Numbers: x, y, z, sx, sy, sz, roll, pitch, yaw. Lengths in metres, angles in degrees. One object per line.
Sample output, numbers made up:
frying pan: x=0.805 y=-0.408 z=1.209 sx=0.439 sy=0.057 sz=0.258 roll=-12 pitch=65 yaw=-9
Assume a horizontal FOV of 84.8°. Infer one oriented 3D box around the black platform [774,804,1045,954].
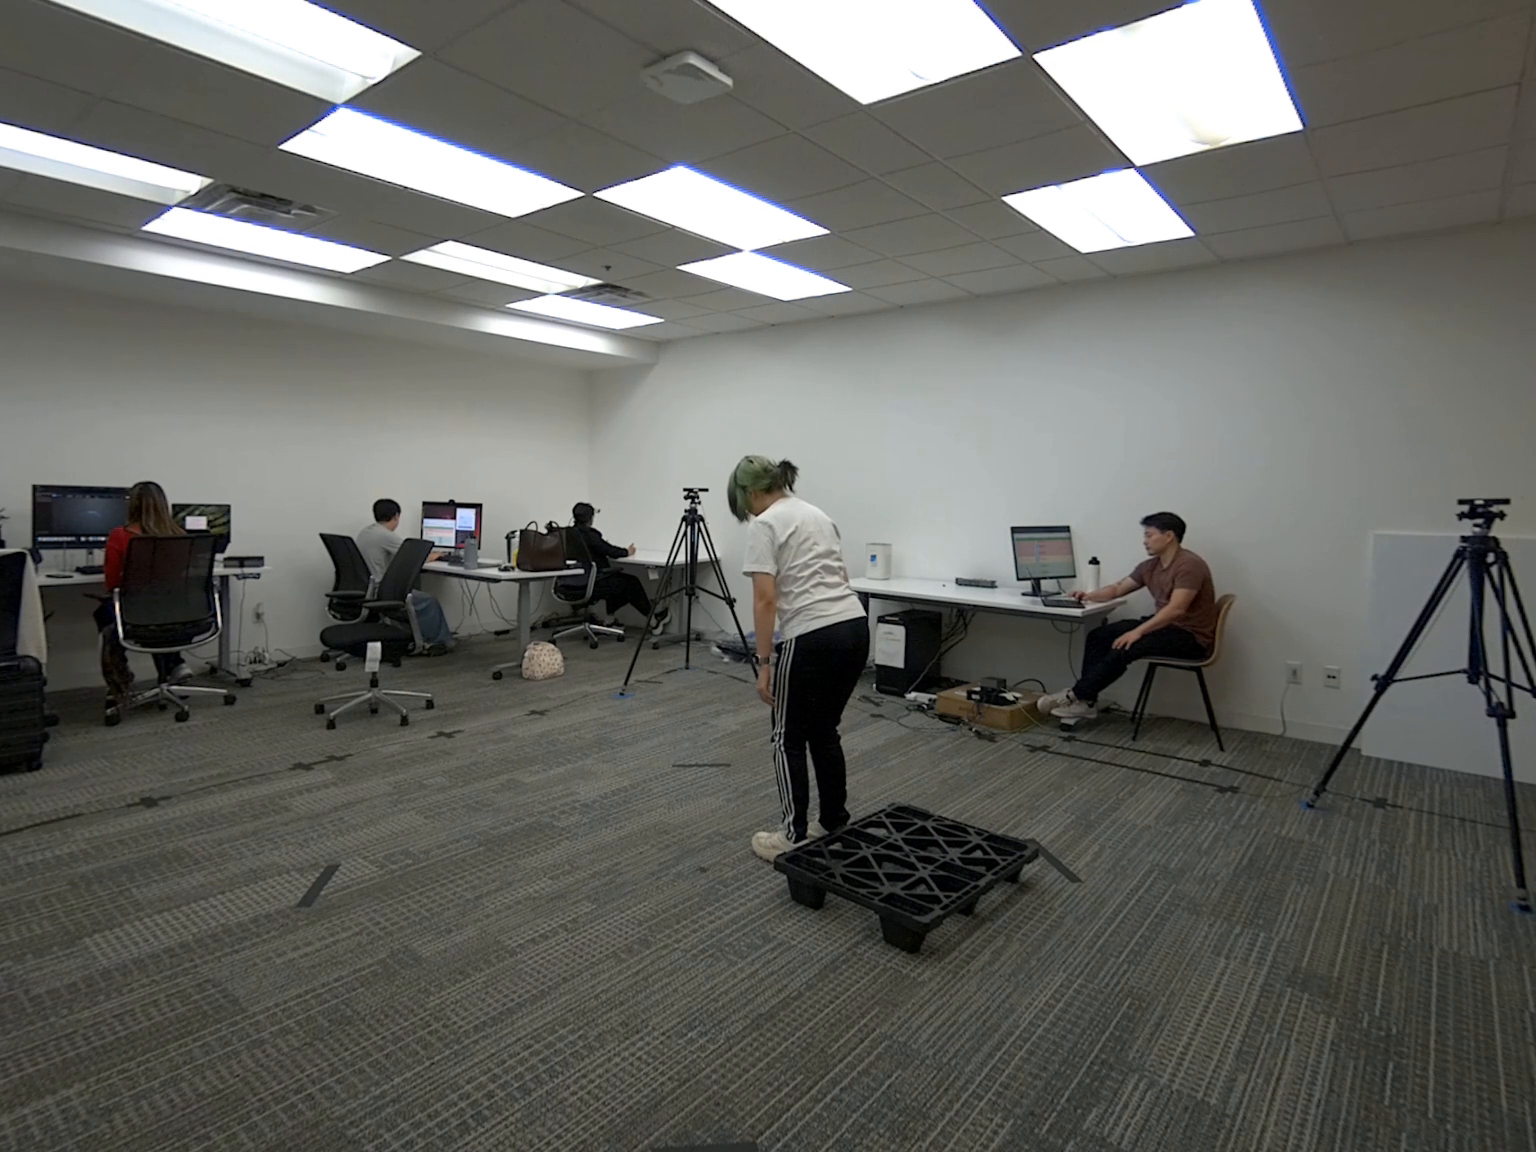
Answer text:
black platform: x=0.484 y=1.030 z=2.987 sx=0.626 sy=0.143 sz=0.781 roll=6 pitch=7 yaw=42
